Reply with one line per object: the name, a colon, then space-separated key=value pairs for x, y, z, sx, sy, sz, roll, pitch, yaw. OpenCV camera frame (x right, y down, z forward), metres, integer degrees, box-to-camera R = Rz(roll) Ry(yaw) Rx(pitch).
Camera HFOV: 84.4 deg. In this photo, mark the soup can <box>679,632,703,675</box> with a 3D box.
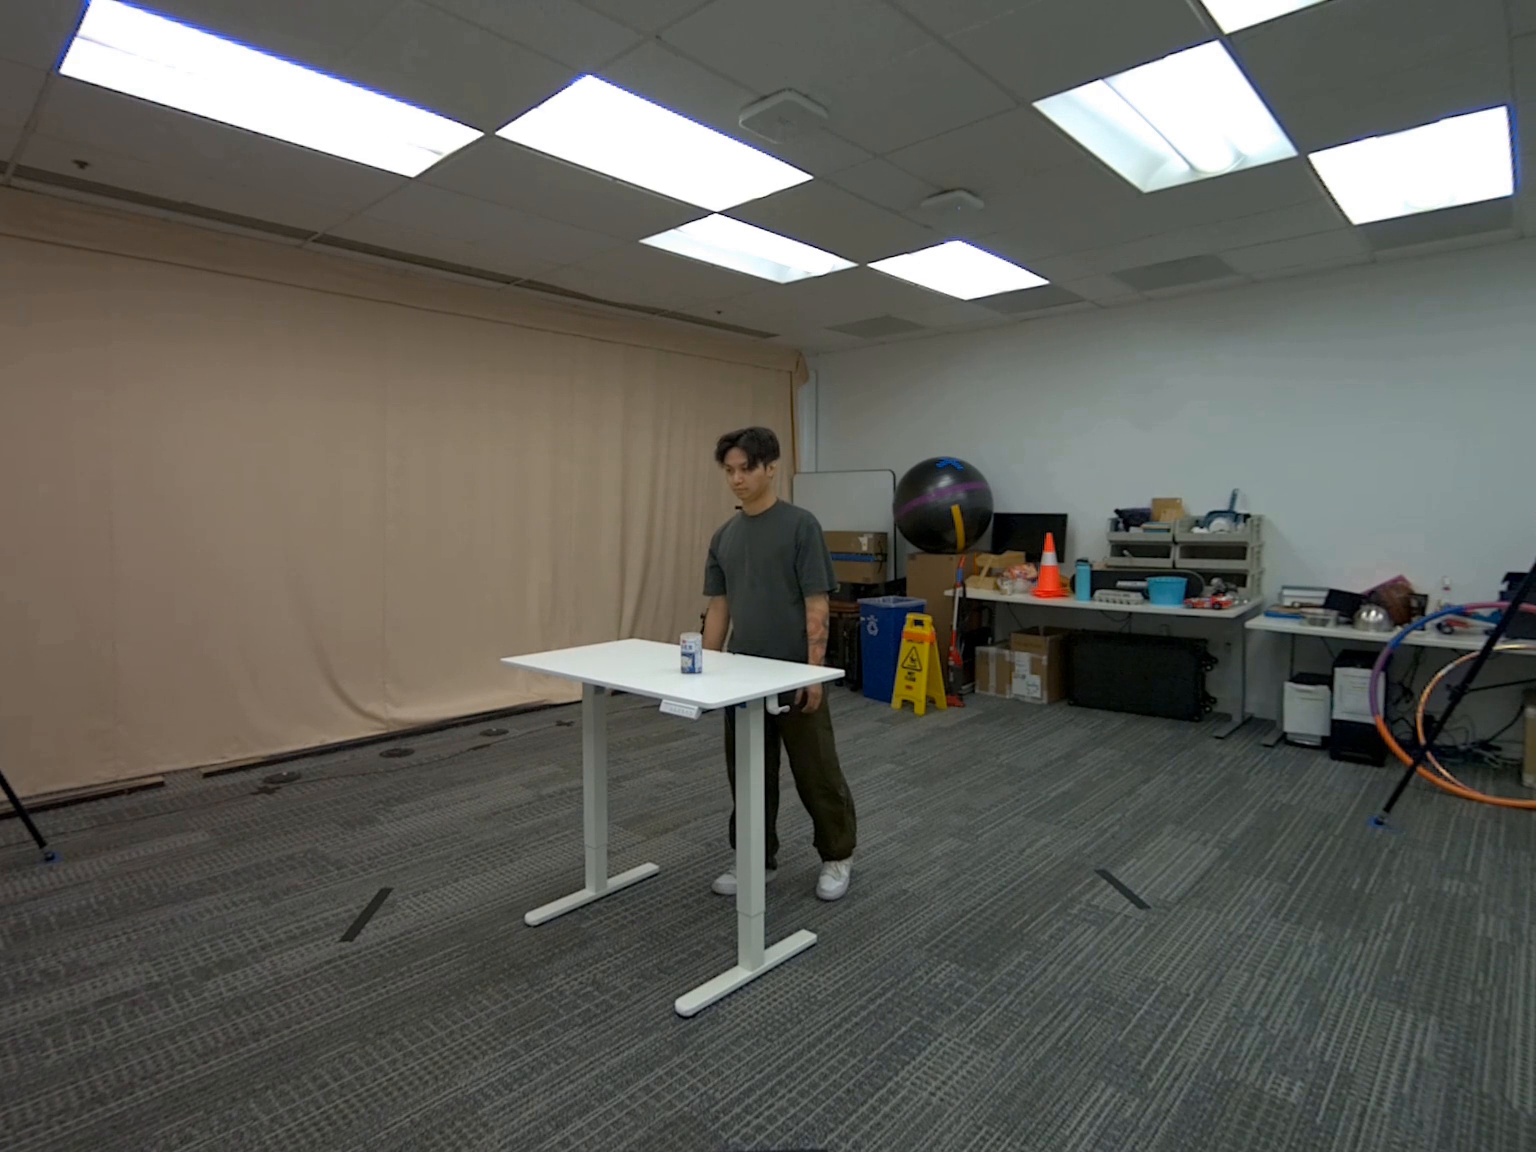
soup can: x=-0.234 y=0.238 z=2.583 sx=0.067 sy=0.121 sz=0.067 roll=1 pitch=0 yaw=-2
